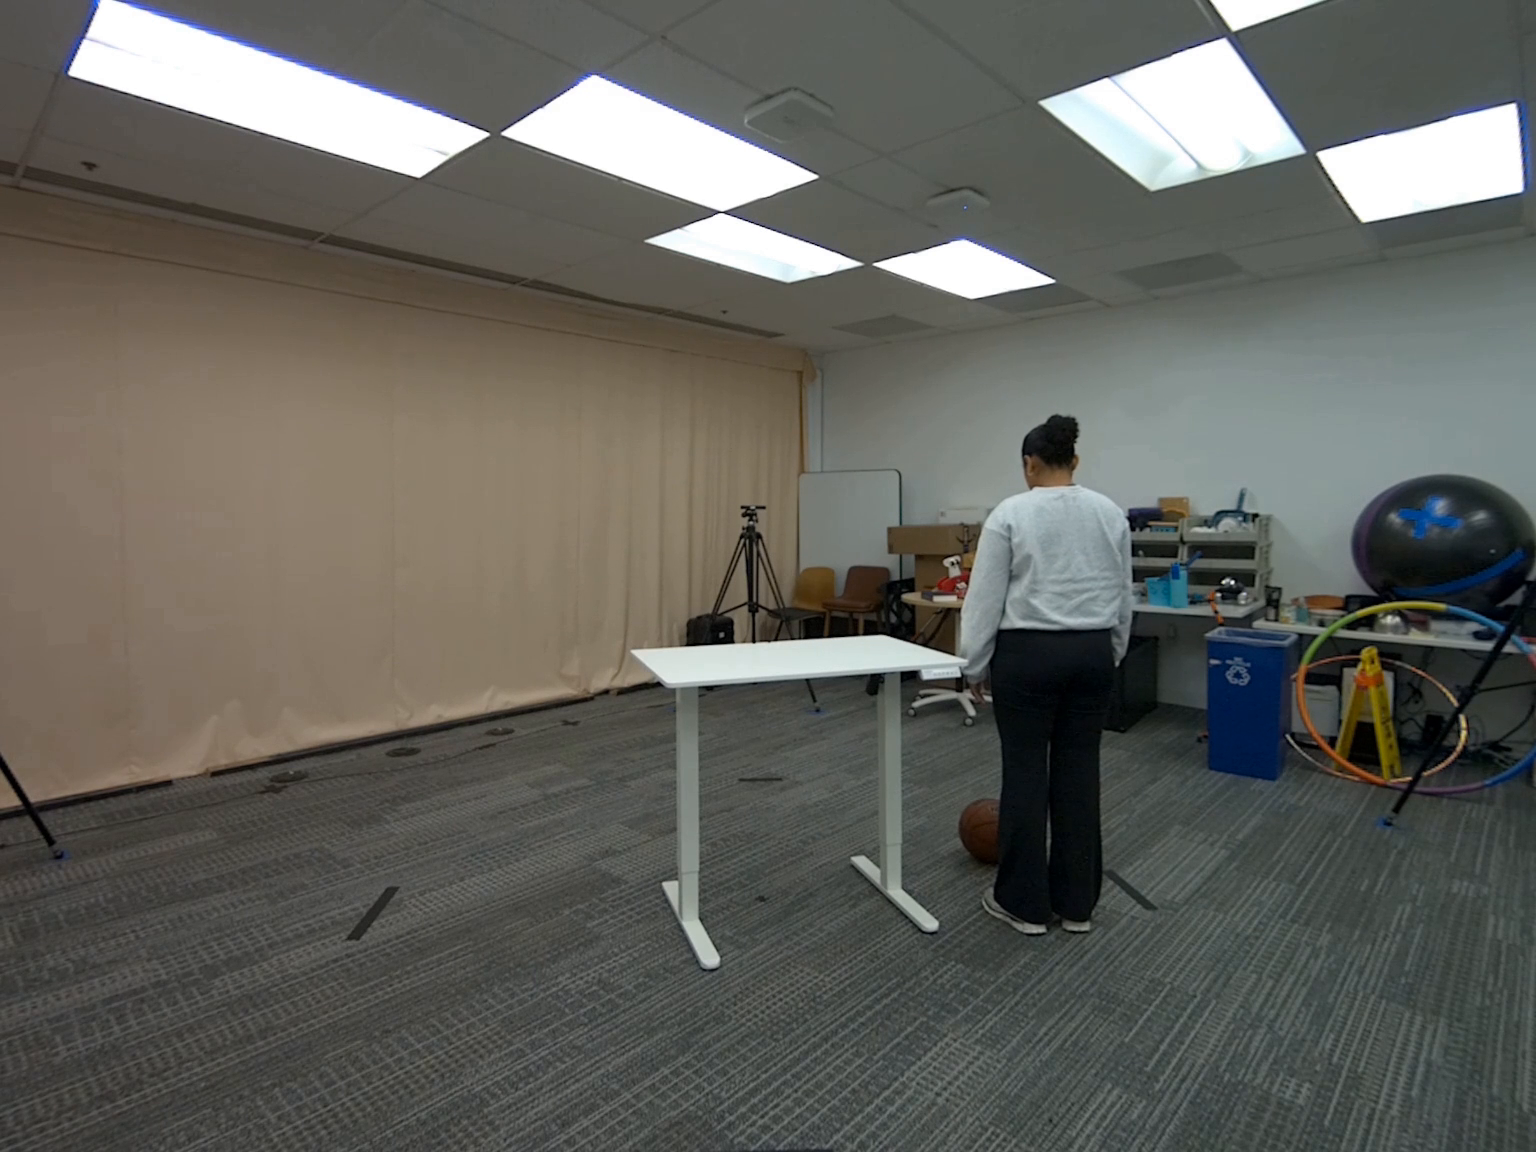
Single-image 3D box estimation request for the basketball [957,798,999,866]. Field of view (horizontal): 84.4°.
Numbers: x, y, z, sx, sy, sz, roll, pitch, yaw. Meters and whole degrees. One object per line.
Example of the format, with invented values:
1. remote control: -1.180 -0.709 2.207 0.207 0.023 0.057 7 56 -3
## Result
1. basketball: 0.875 0.993 3.295 0.236 0.235 0.237 0 4 -2
